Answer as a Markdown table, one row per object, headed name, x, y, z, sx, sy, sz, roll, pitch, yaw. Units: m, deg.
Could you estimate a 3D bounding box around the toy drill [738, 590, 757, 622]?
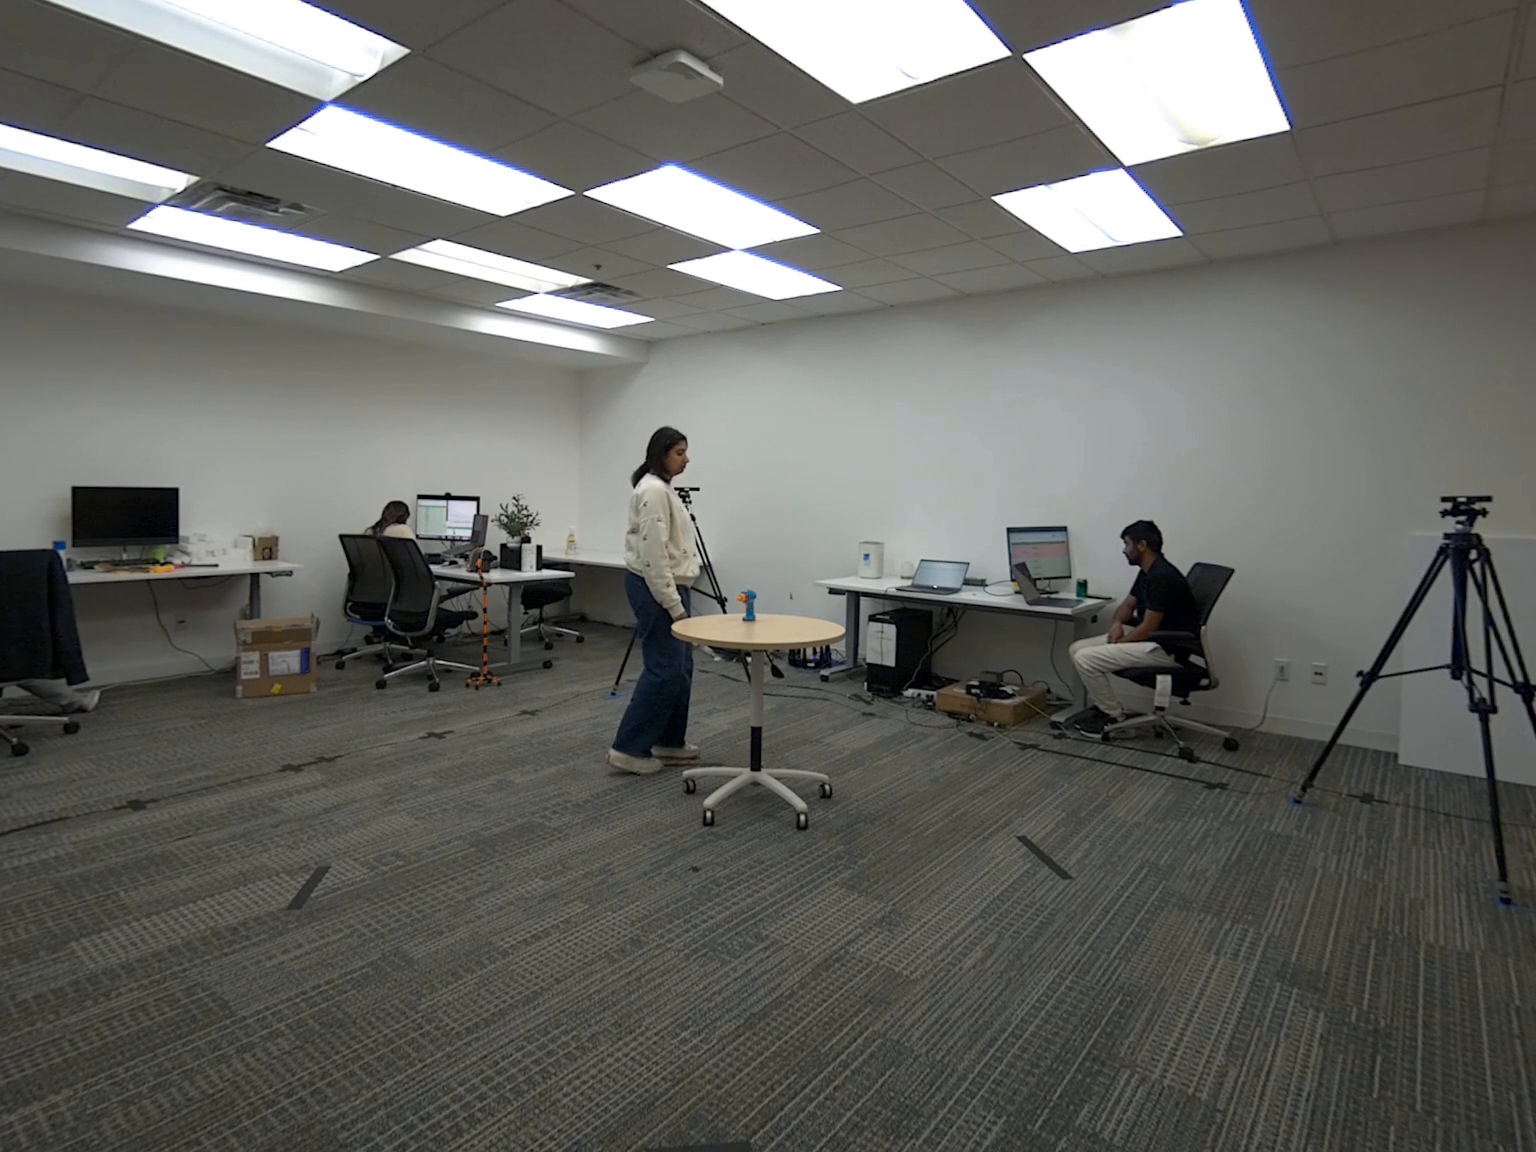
| name | x | y | z | sx | sy | sz | roll | pitch | yaw |
| --- | --- | --- | --- | --- | --- | --- | --- | --- | --- |
| toy drill | -0.106 | 0.131 | 3.916 | 0.063 | 0.145 | 0.166 | 5 | 5 | 22 |
